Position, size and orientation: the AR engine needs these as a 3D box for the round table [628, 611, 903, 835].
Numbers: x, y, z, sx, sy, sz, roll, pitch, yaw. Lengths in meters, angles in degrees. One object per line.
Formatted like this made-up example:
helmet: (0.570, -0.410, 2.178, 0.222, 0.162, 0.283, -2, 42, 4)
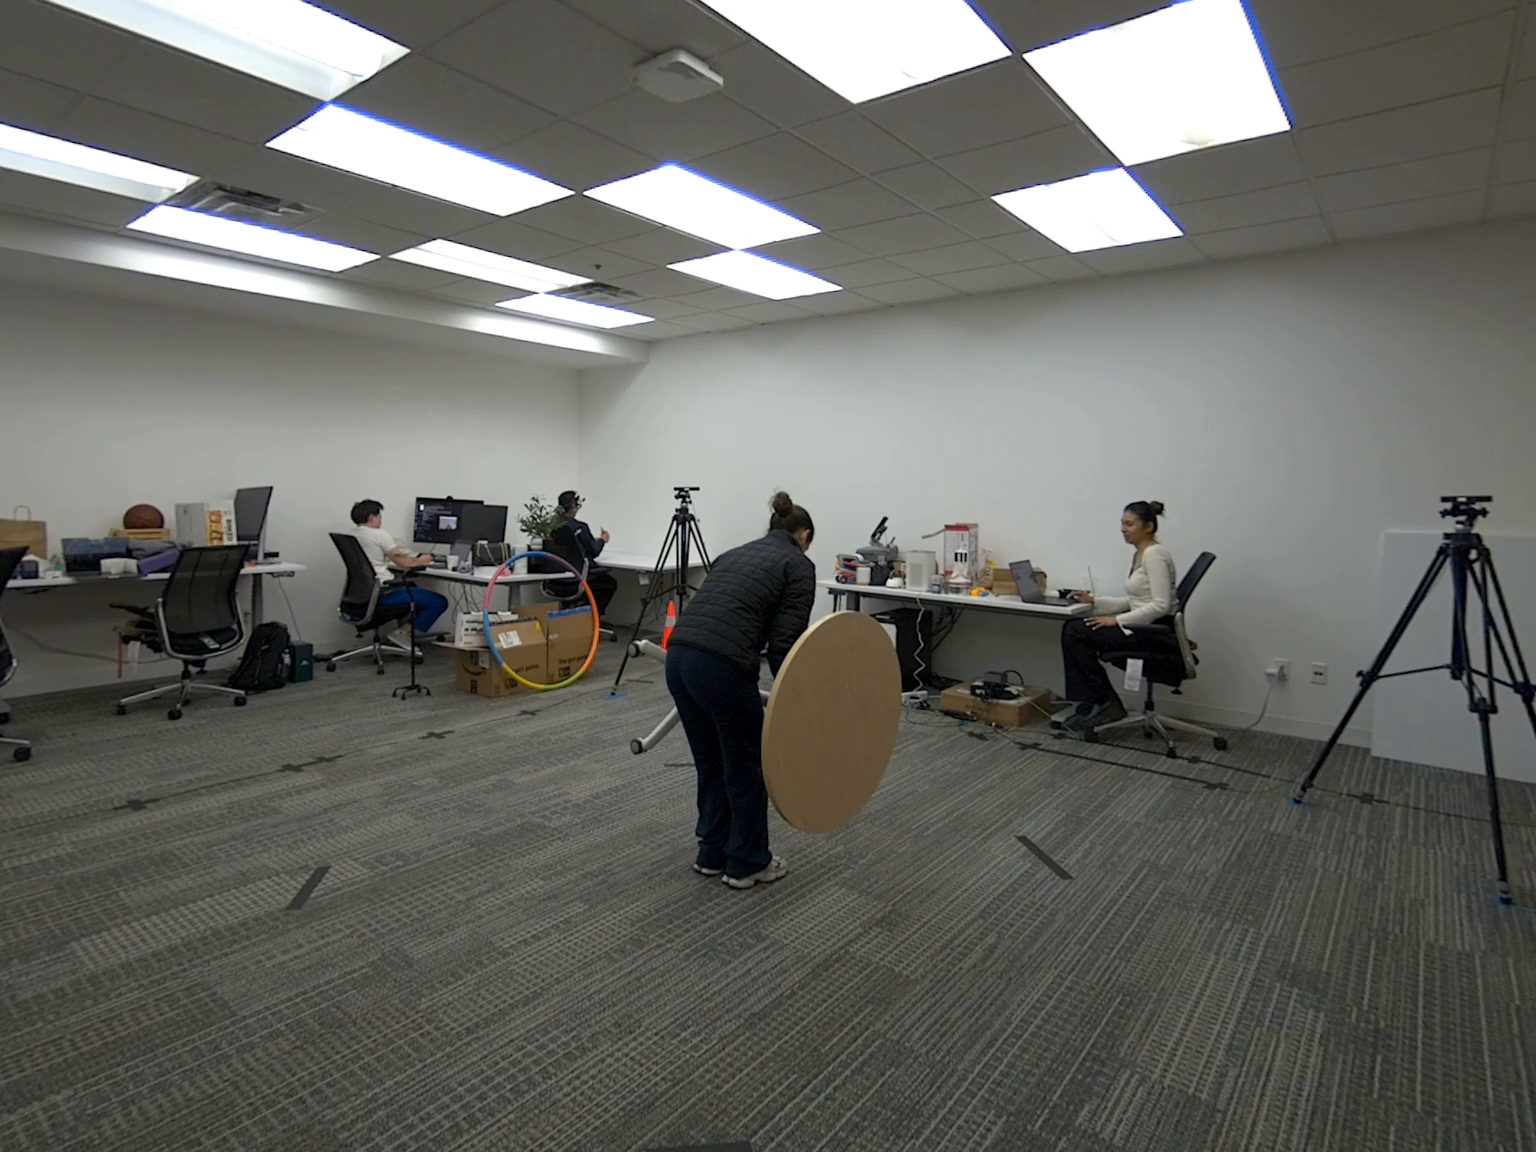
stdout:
round table: (-0.039, 0.461, 3.218, 0.814, 0.782, 0.761, 7, 7, 42)
